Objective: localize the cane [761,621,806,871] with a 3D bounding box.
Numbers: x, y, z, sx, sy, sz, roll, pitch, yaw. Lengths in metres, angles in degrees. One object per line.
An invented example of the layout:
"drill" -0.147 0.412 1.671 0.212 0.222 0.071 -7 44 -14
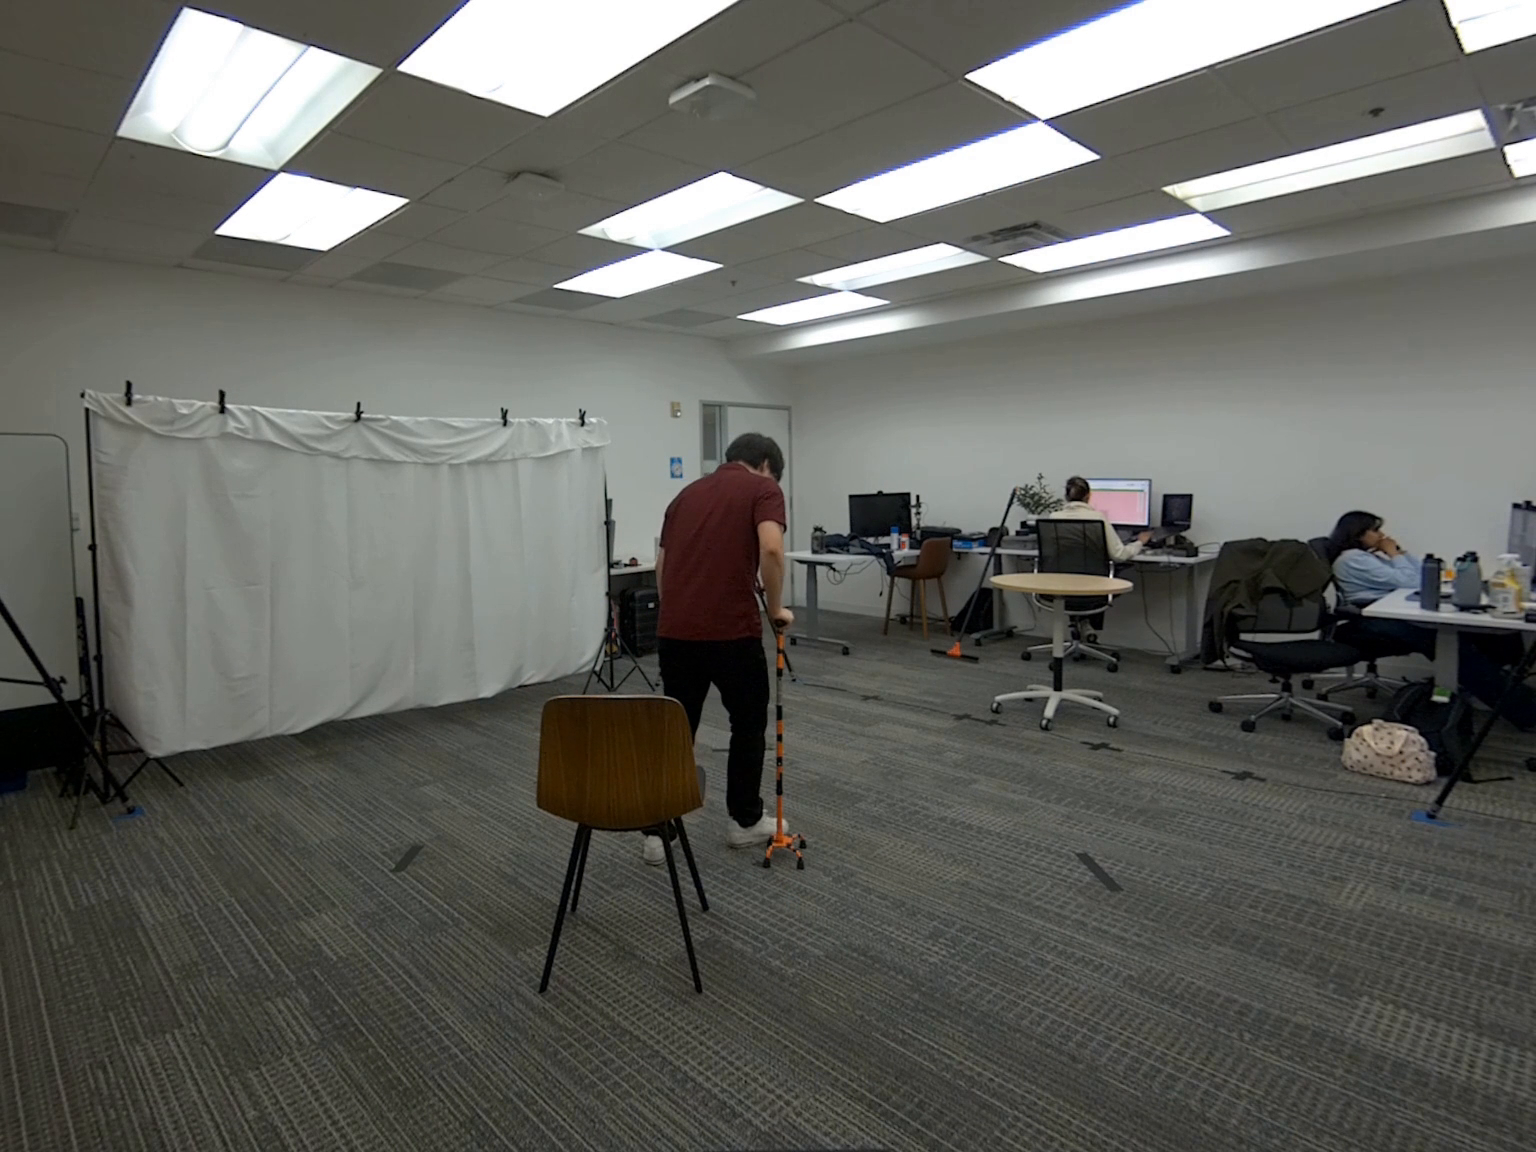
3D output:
"cane" 0.065 0.584 3.130 0.152 0.905 0.206 0 3 4
